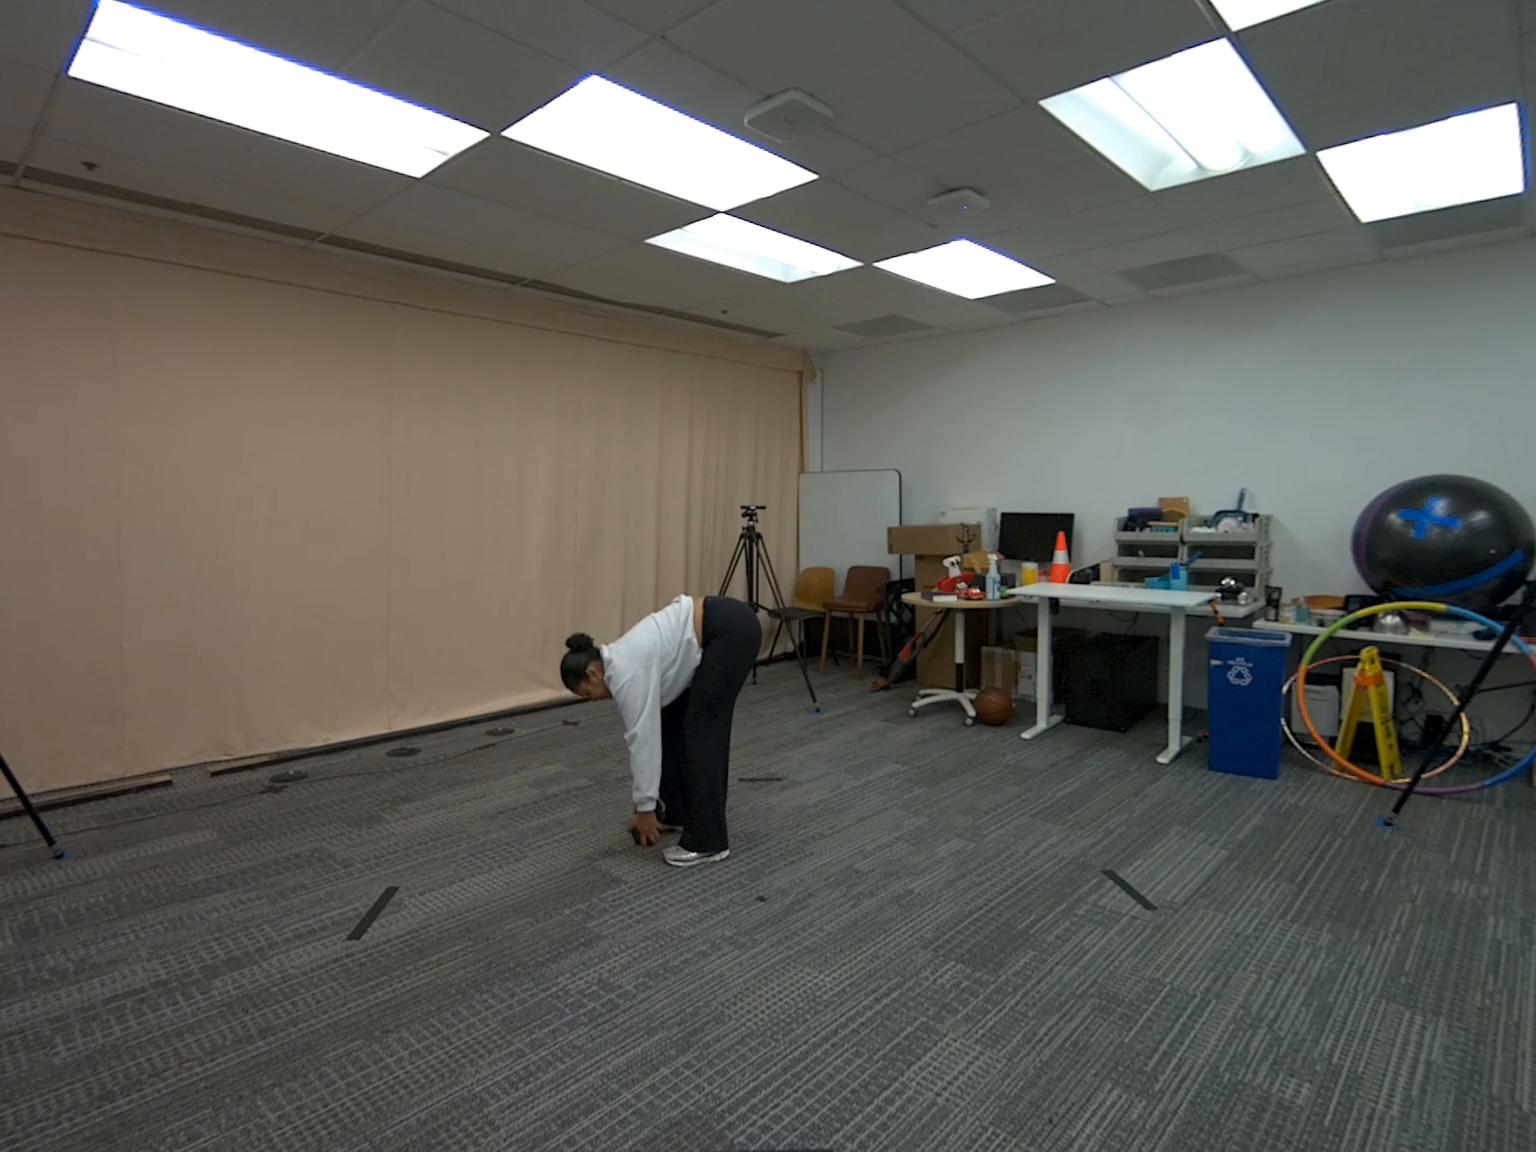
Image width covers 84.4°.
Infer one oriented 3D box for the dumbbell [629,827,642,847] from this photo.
[{"bbox_3d":[-0.476,0.988,3.422,0.107,0.123,0.297,37,0,-10],"label":"dumbbell"}]
